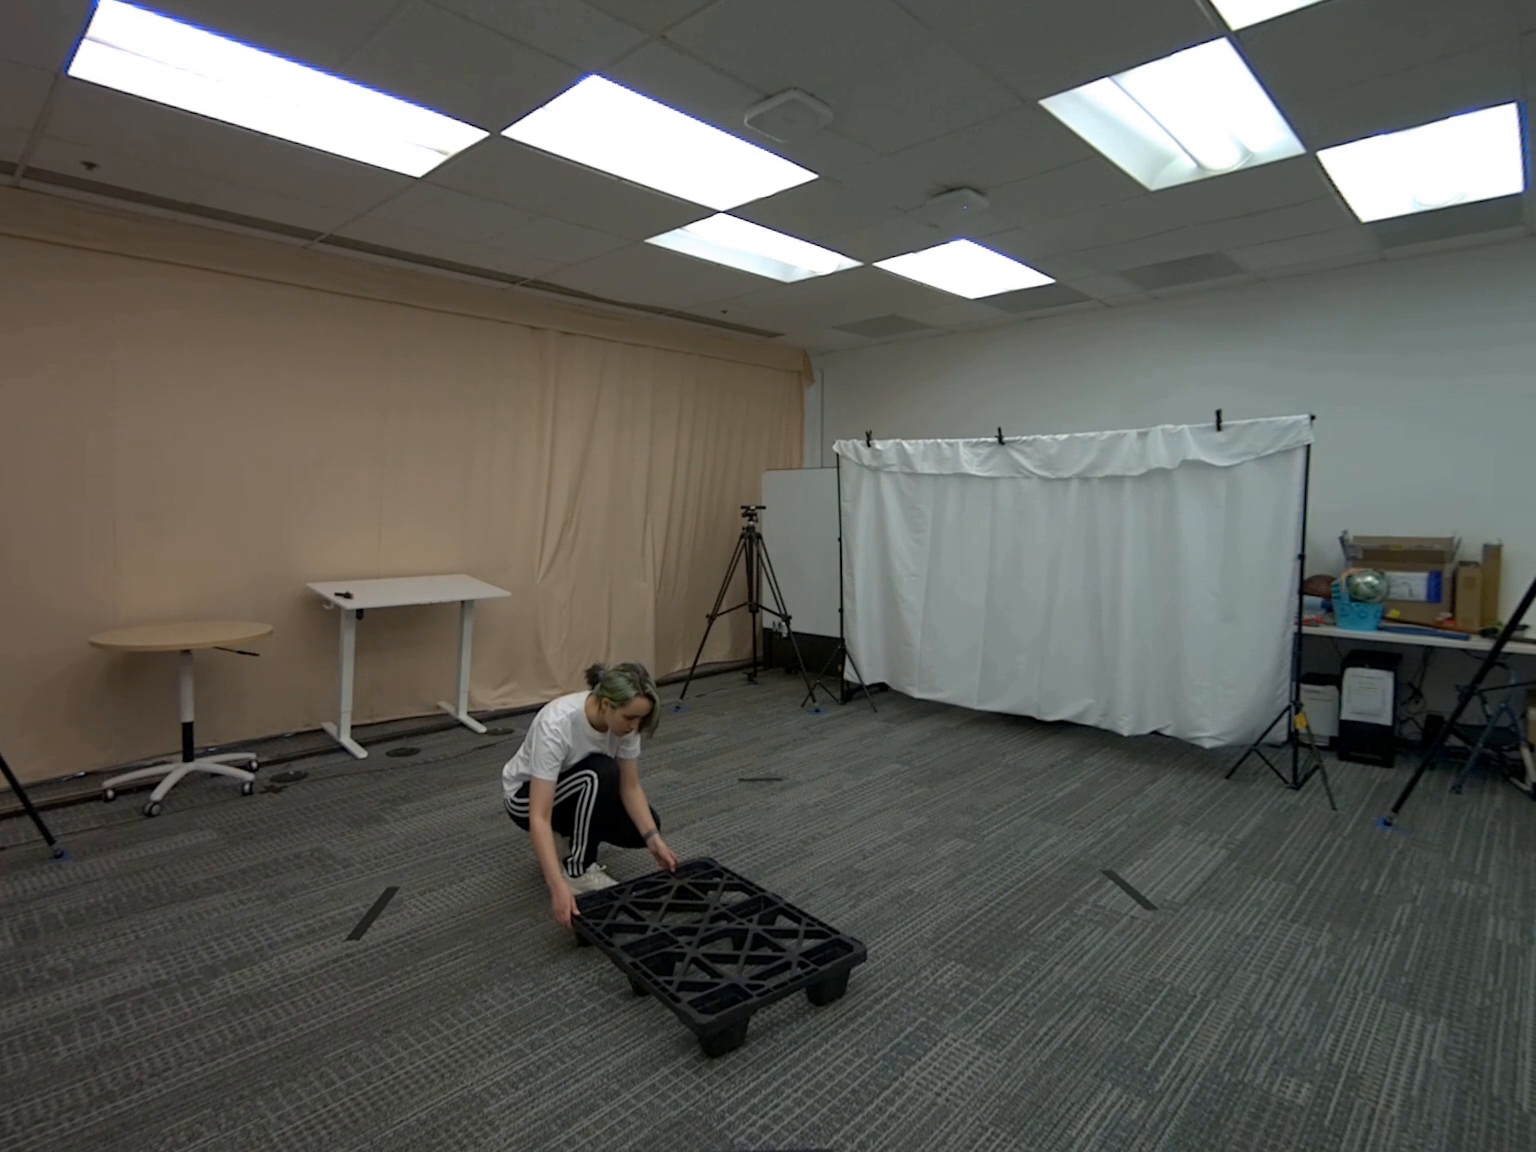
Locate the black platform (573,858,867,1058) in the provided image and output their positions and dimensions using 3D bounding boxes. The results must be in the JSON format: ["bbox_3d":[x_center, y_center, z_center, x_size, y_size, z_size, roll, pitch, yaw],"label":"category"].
[{"bbox_3d":[-0.187,1.118,2.539,0.587,0.143,0.832,-3,6,-39],"label":"black platform"}]
